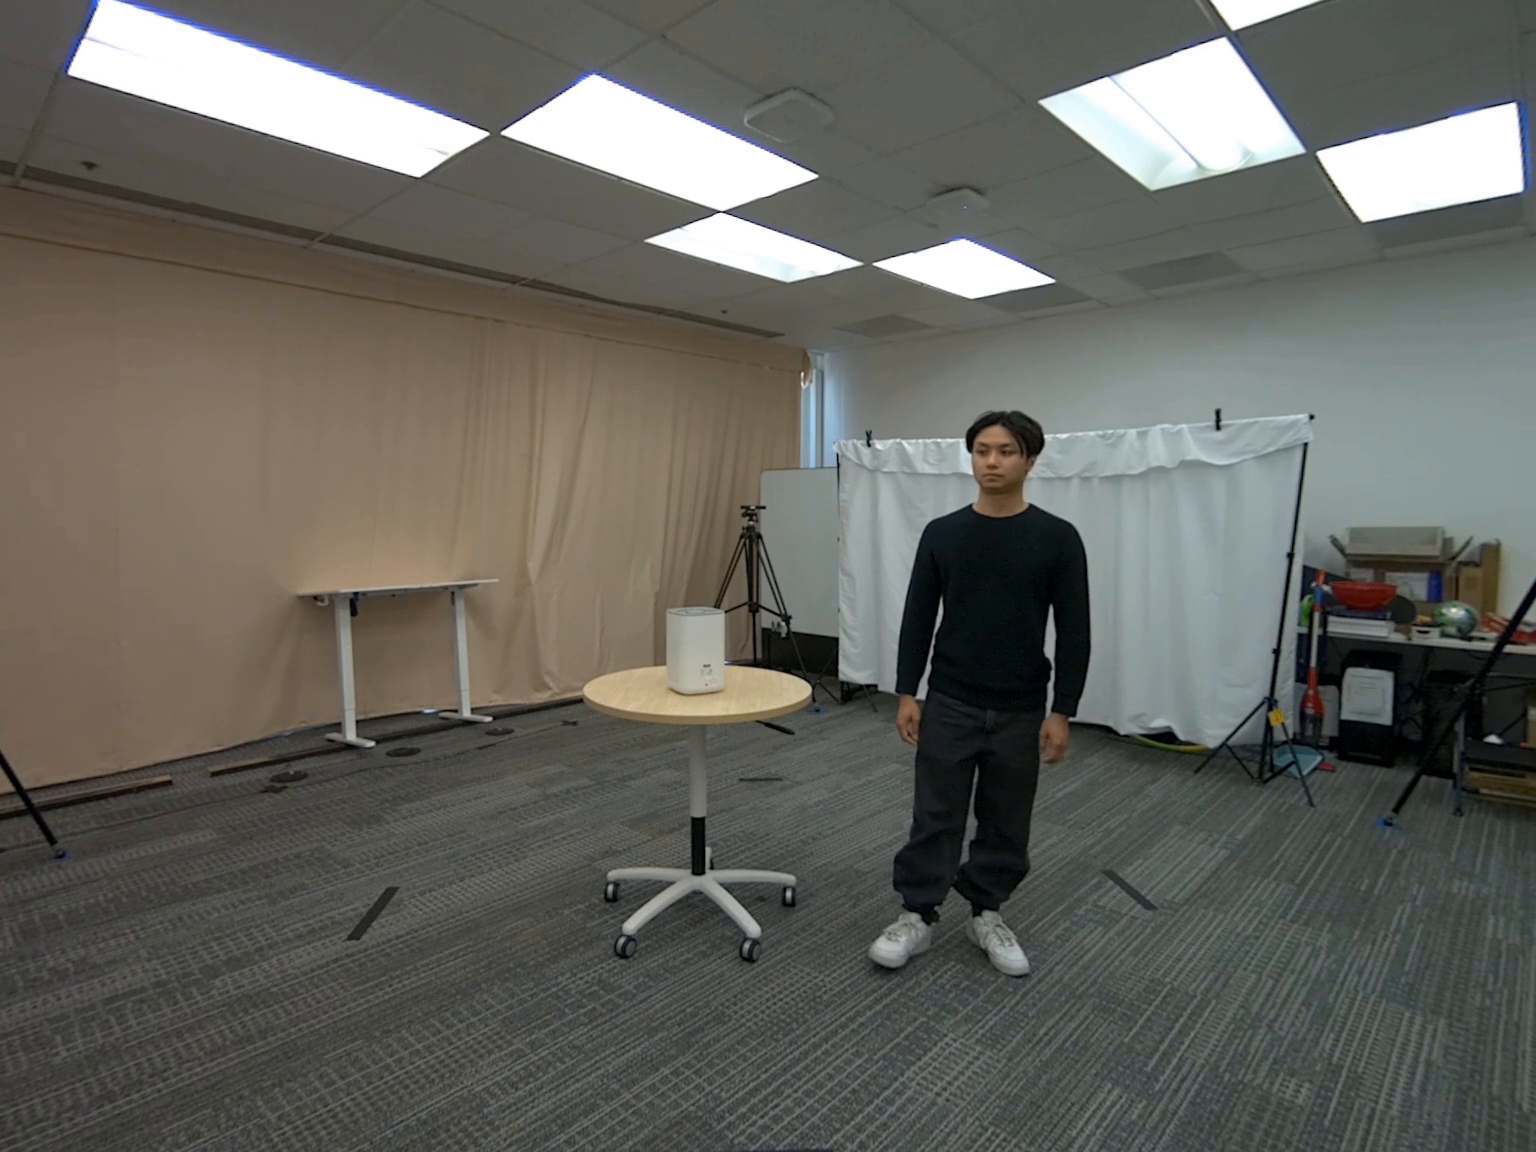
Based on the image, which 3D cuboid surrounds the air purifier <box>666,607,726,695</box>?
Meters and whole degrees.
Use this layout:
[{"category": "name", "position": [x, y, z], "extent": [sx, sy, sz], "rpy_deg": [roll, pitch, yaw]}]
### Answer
[{"category": "air purifier", "position": [-0.234, 0.245, 2.784], "extent": [0.166, 0.265, 0.176], "rpy_deg": [-1, 4, -30]}]
